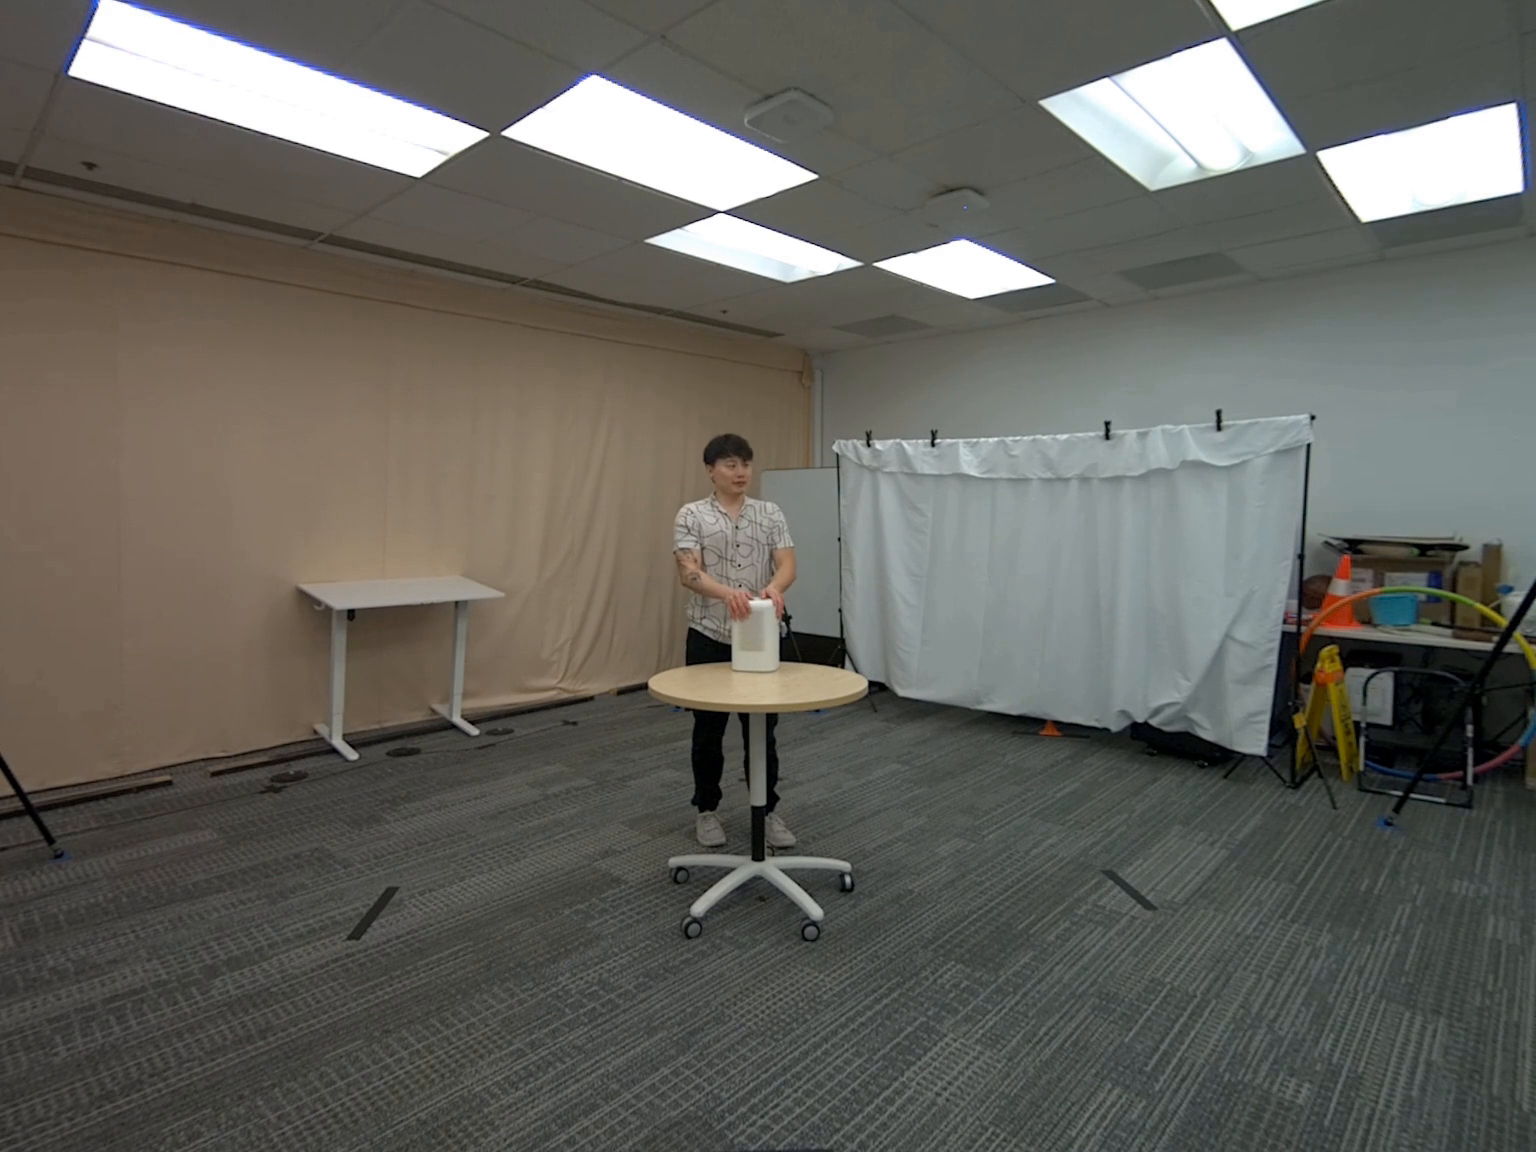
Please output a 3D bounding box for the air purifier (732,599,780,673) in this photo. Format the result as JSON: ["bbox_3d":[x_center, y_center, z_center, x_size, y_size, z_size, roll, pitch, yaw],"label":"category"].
[{"bbox_3d":[-0.051,0.218,3.185,0.174,0.265,0.169,-2,1,12],"label":"air purifier"}]
